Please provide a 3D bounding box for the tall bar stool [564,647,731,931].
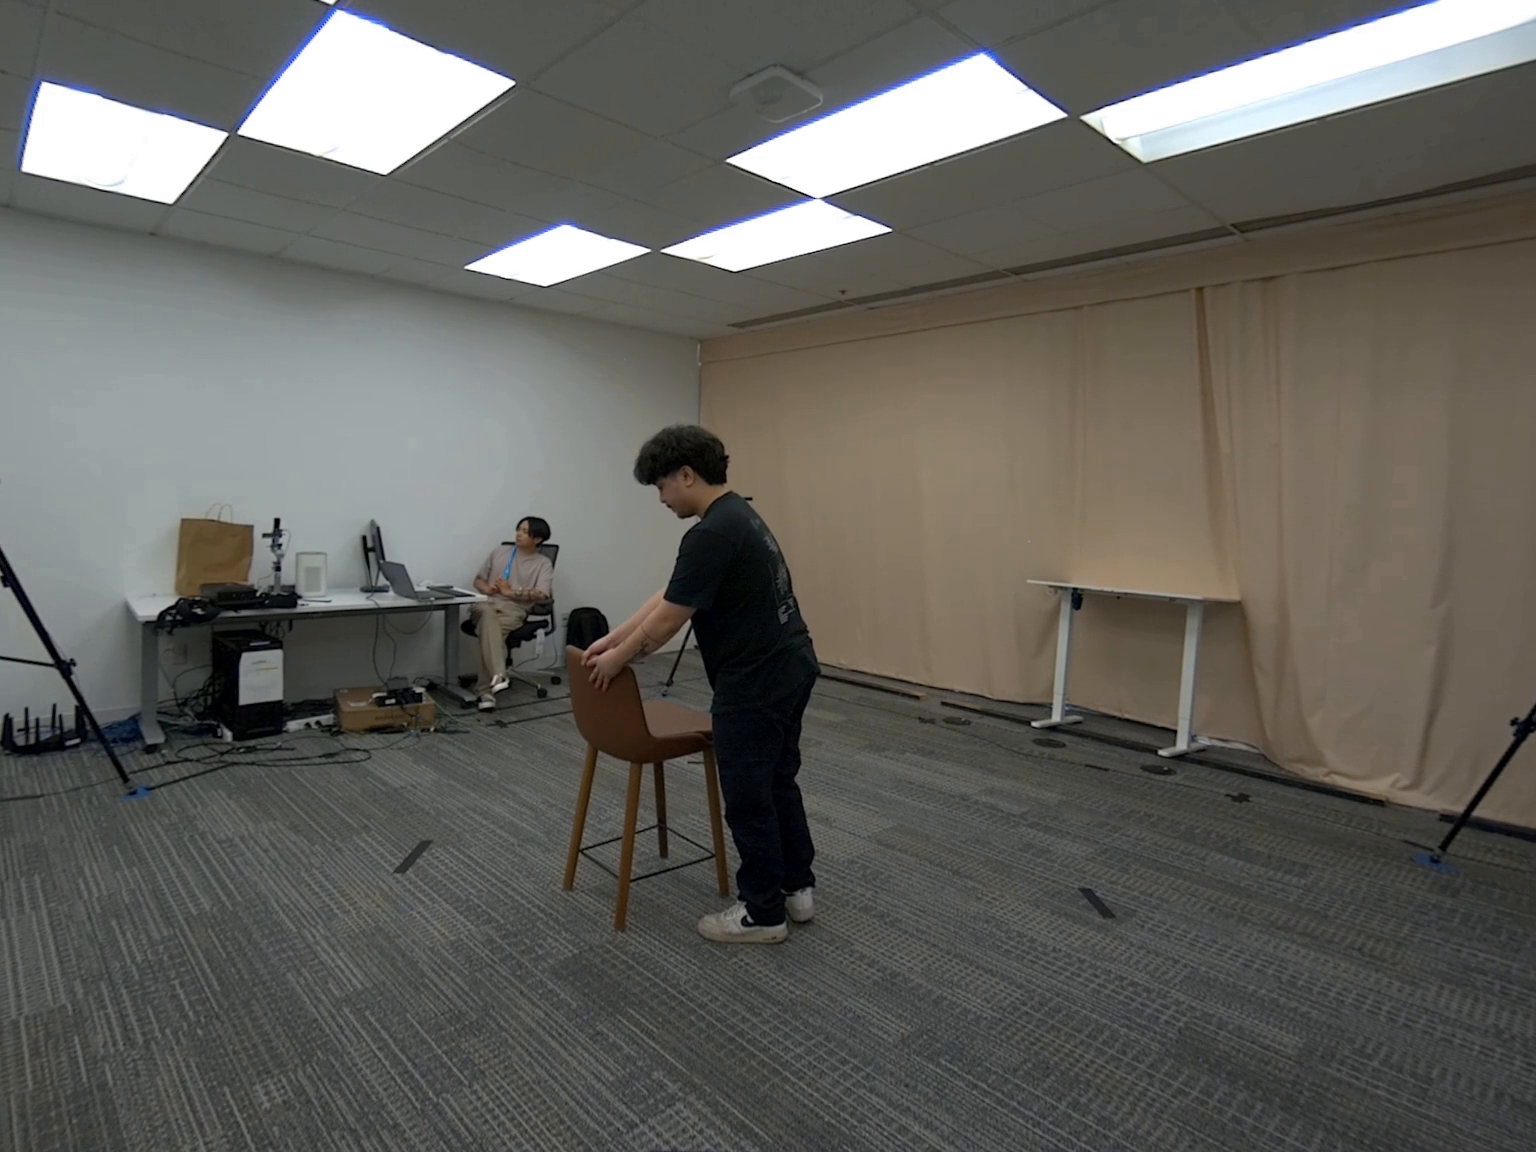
[{"bbox_3d":[-0.444,0.678,2.942,0.458,0.886,0.468,-5,6,-39],"label":"tall bar stool"}]
